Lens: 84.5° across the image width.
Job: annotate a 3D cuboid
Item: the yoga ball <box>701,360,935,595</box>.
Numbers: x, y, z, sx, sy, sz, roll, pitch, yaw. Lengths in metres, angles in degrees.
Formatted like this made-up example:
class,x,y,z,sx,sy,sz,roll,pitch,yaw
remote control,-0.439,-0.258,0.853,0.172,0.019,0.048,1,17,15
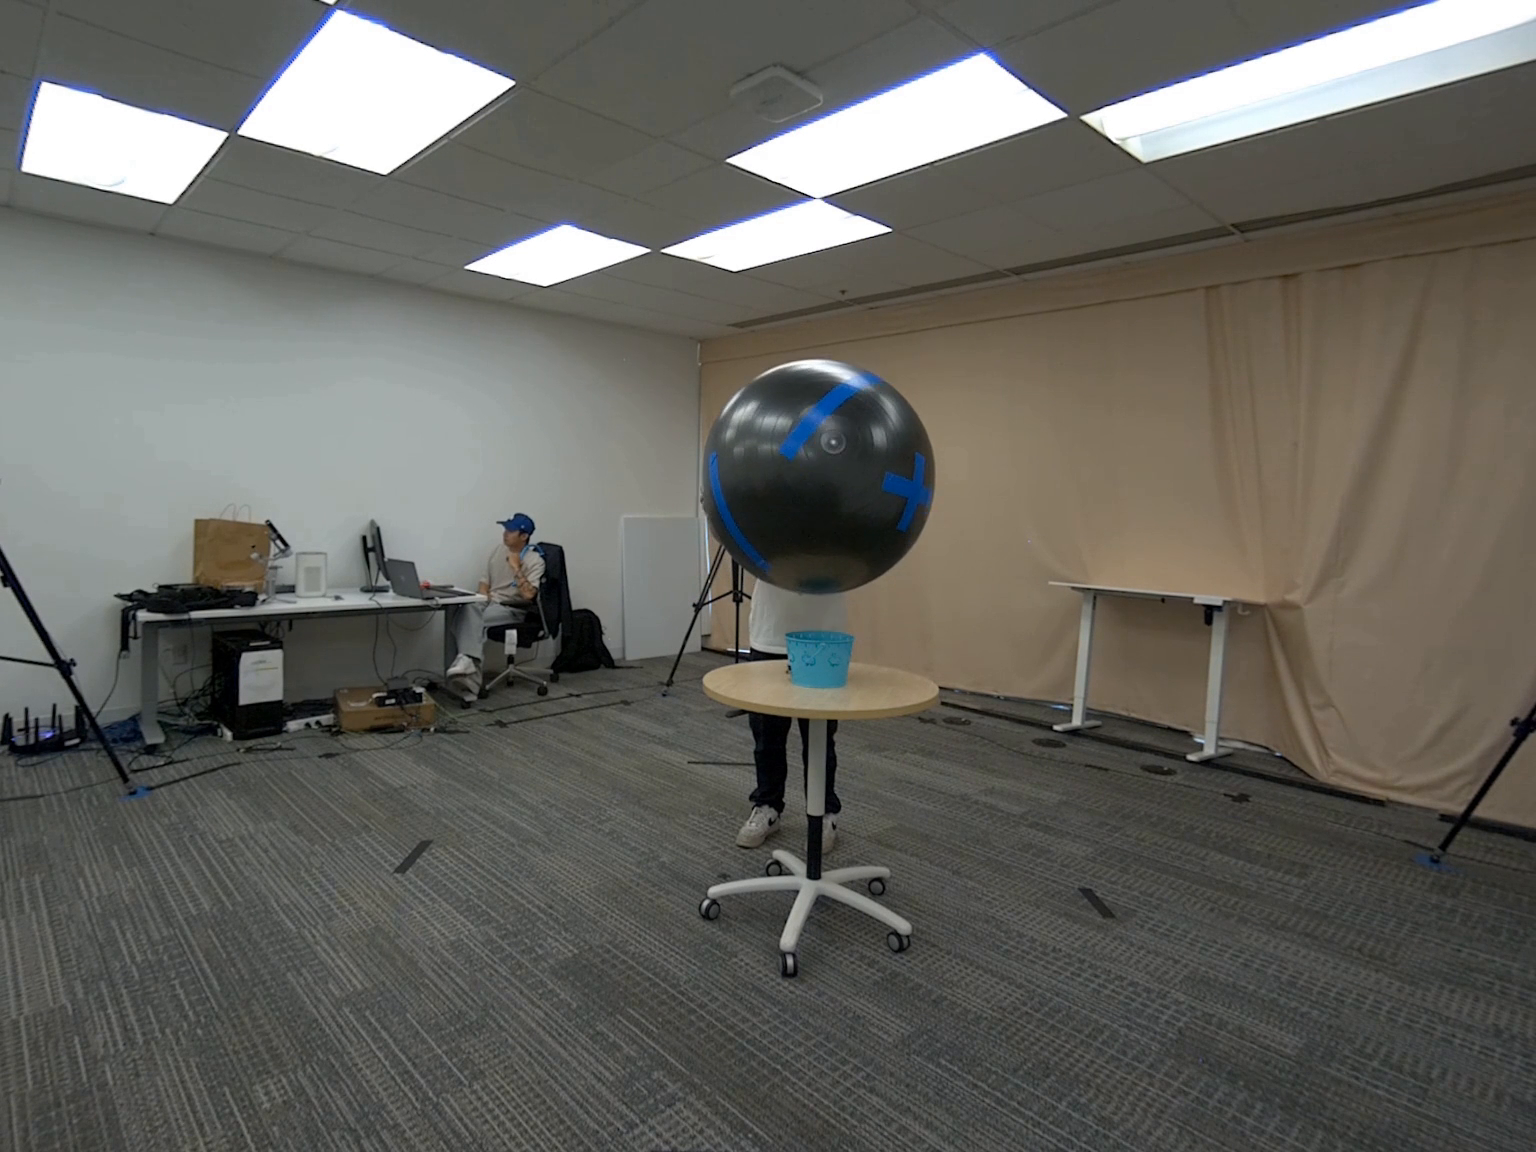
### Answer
class,x,y,z,sx,sy,sz,roll,pitch,yaw
yoga ball,0.155,-0.313,2.749,0.757,0.756,0.760,1,4,-1
